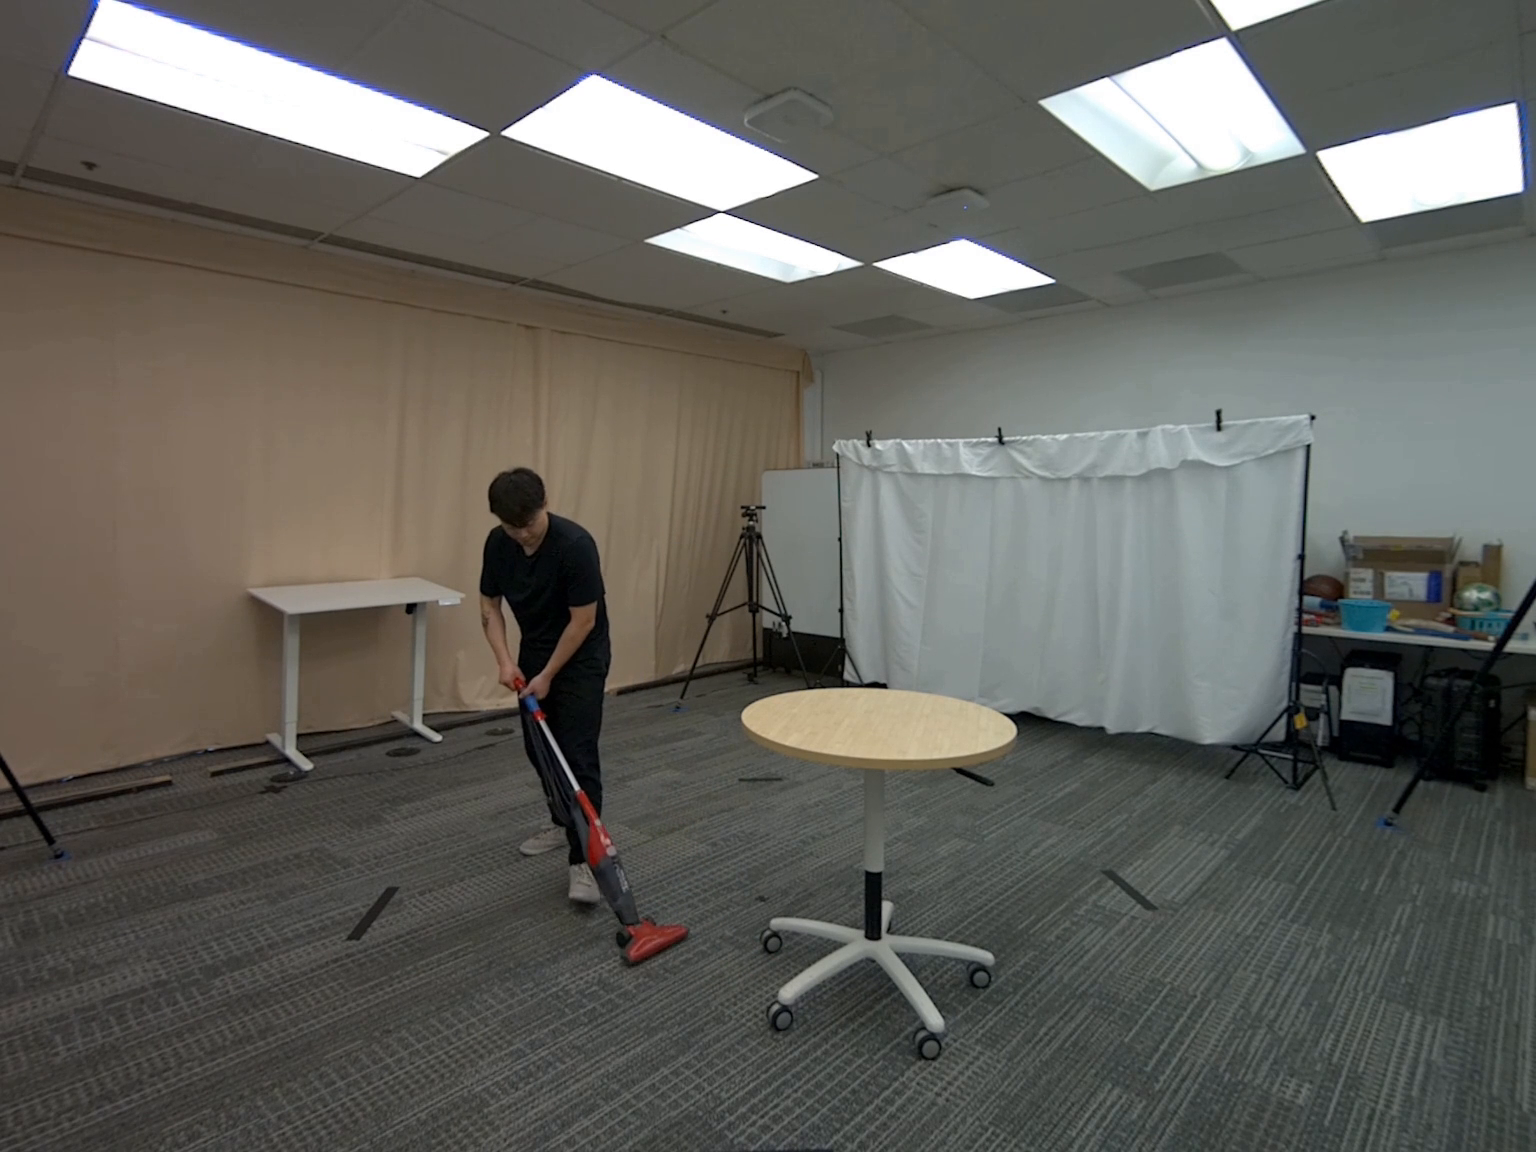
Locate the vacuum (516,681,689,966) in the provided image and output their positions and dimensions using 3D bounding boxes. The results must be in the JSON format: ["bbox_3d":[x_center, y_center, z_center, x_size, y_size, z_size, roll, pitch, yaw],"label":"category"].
[{"bbox_3d":[-0.653,0.785,2.888,0.245,0.144,1.078,0,45,-52],"label":"vacuum"}]
